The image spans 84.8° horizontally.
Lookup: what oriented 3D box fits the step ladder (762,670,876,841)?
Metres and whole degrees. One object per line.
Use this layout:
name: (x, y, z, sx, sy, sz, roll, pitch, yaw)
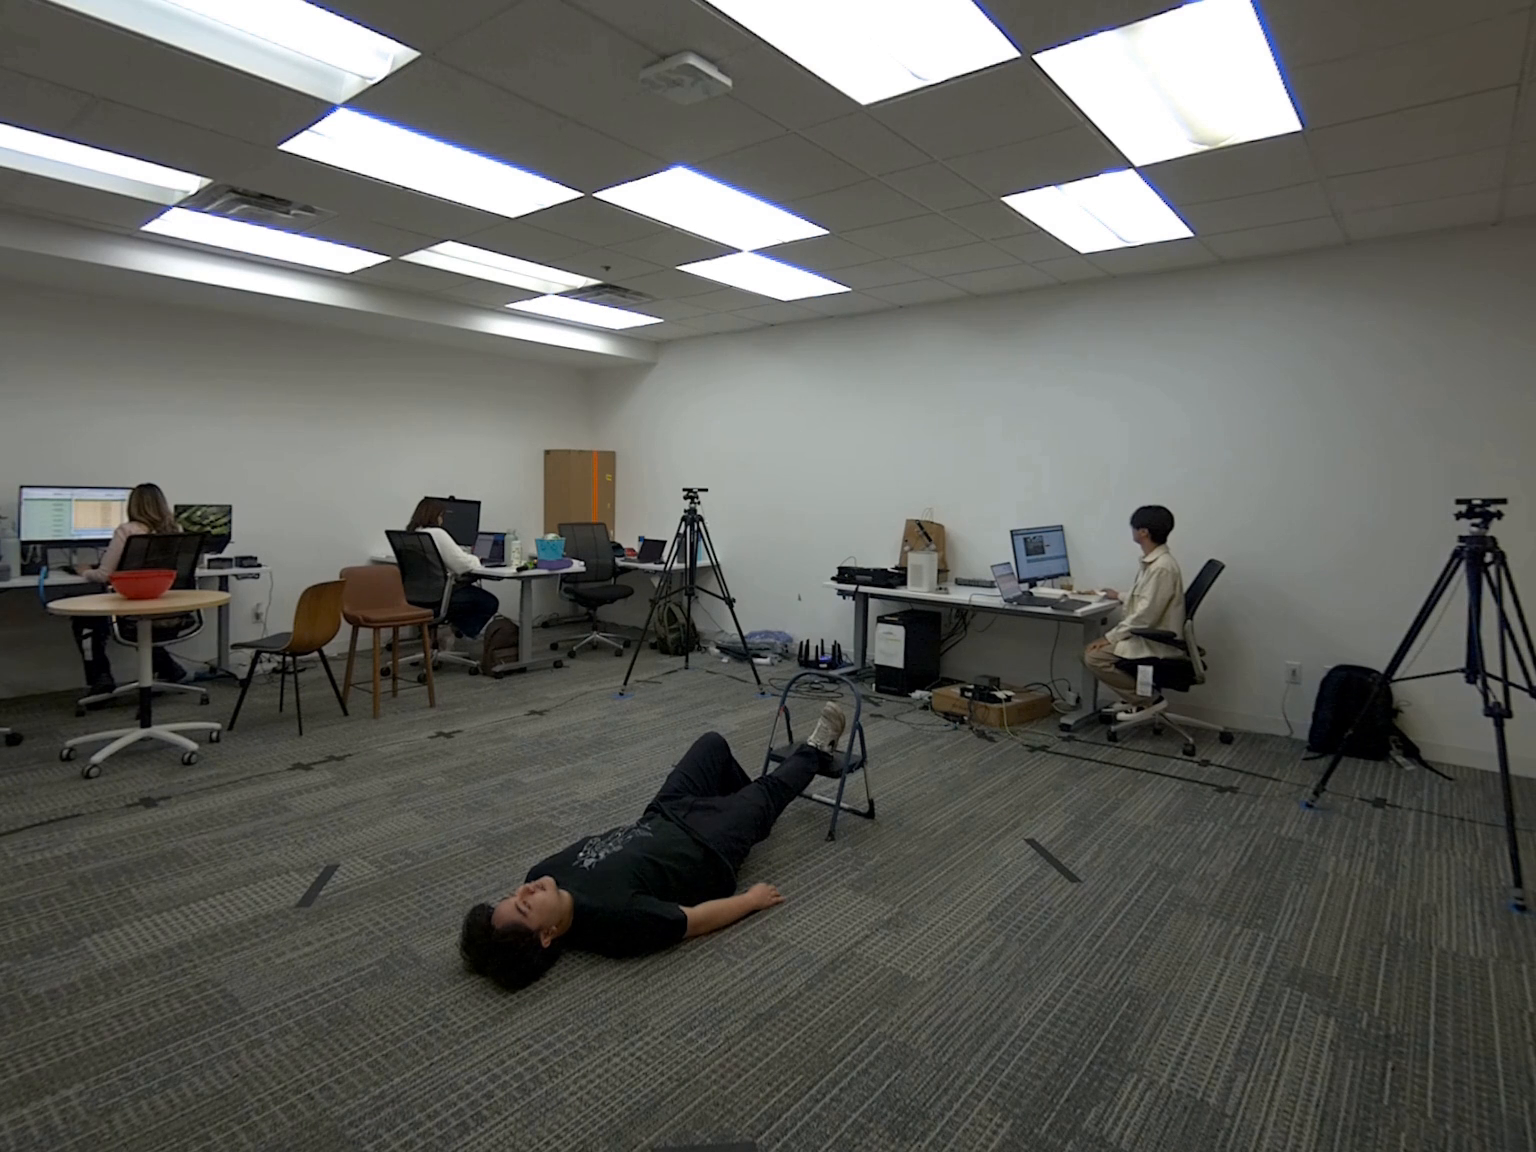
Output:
step ladder: (0.196, 0.728, 3.640, 0.445, 0.604, 0.339, 5, 5, 40)
